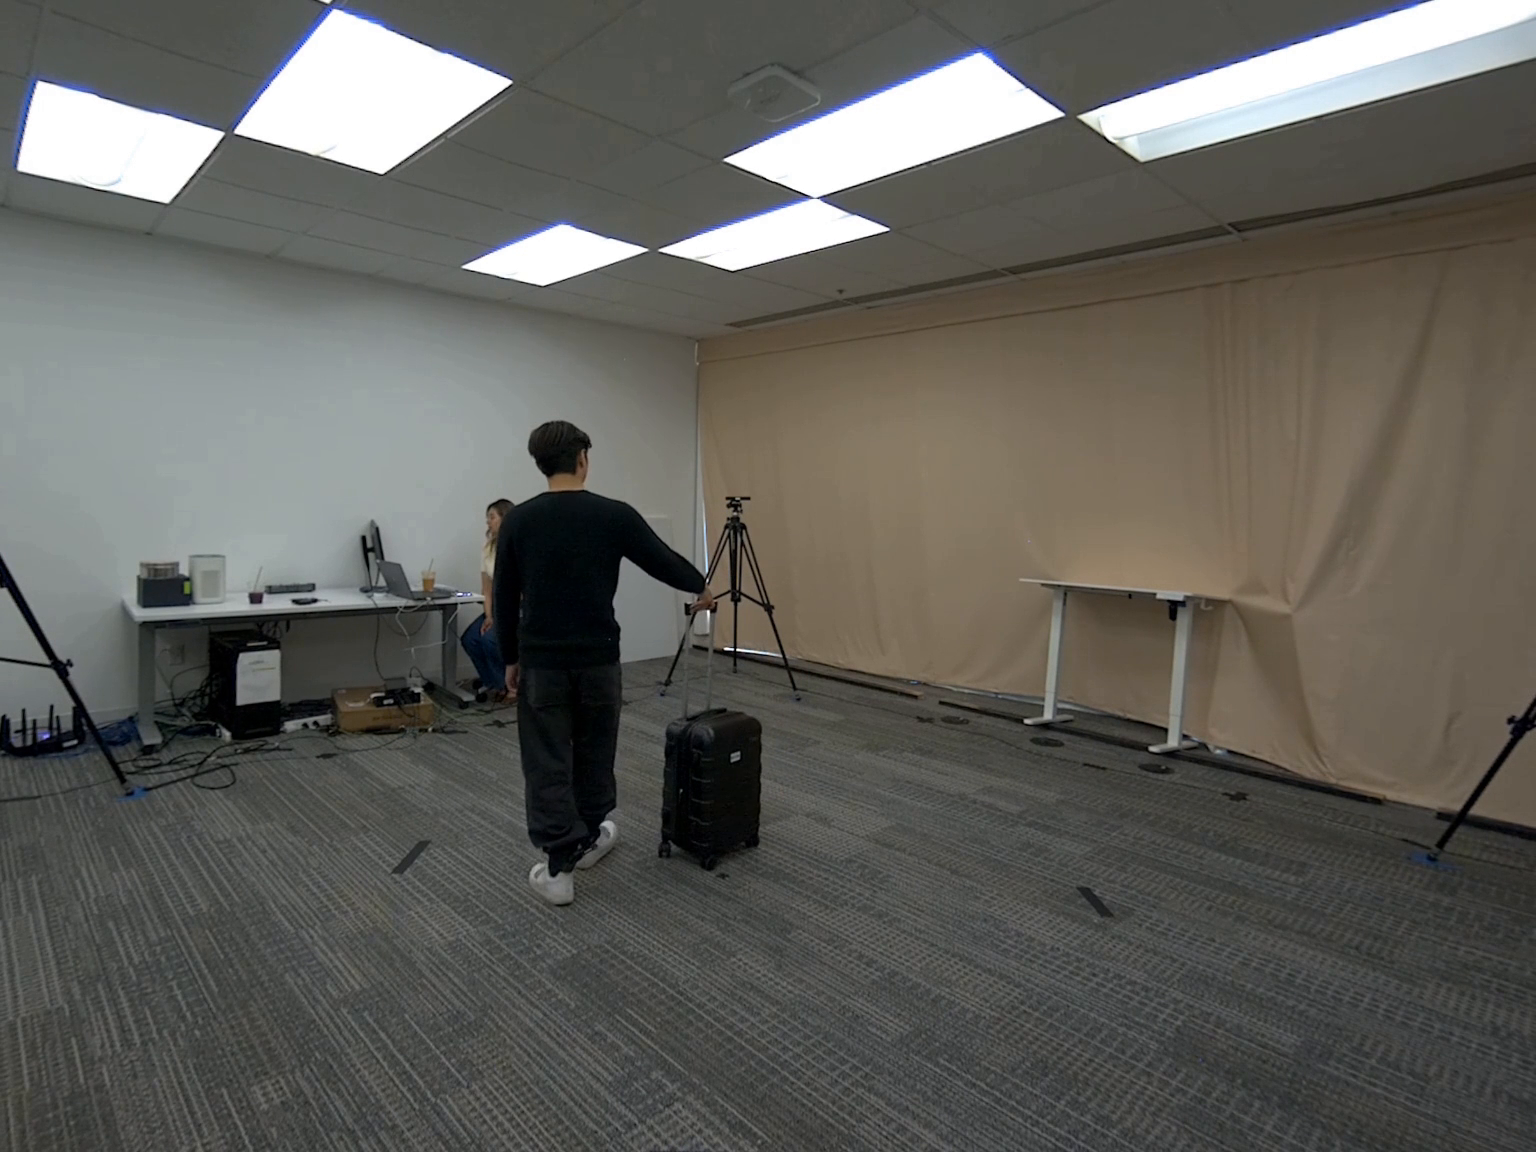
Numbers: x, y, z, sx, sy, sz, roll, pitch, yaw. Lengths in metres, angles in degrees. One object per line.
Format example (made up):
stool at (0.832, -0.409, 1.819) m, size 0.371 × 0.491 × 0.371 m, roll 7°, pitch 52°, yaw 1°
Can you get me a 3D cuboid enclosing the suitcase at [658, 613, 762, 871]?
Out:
suitcase at (-0.207, 0.613, 3.296) m, size 0.264 × 0.975 × 0.375 m, roll 7°, pitch 6°, yaw 38°
